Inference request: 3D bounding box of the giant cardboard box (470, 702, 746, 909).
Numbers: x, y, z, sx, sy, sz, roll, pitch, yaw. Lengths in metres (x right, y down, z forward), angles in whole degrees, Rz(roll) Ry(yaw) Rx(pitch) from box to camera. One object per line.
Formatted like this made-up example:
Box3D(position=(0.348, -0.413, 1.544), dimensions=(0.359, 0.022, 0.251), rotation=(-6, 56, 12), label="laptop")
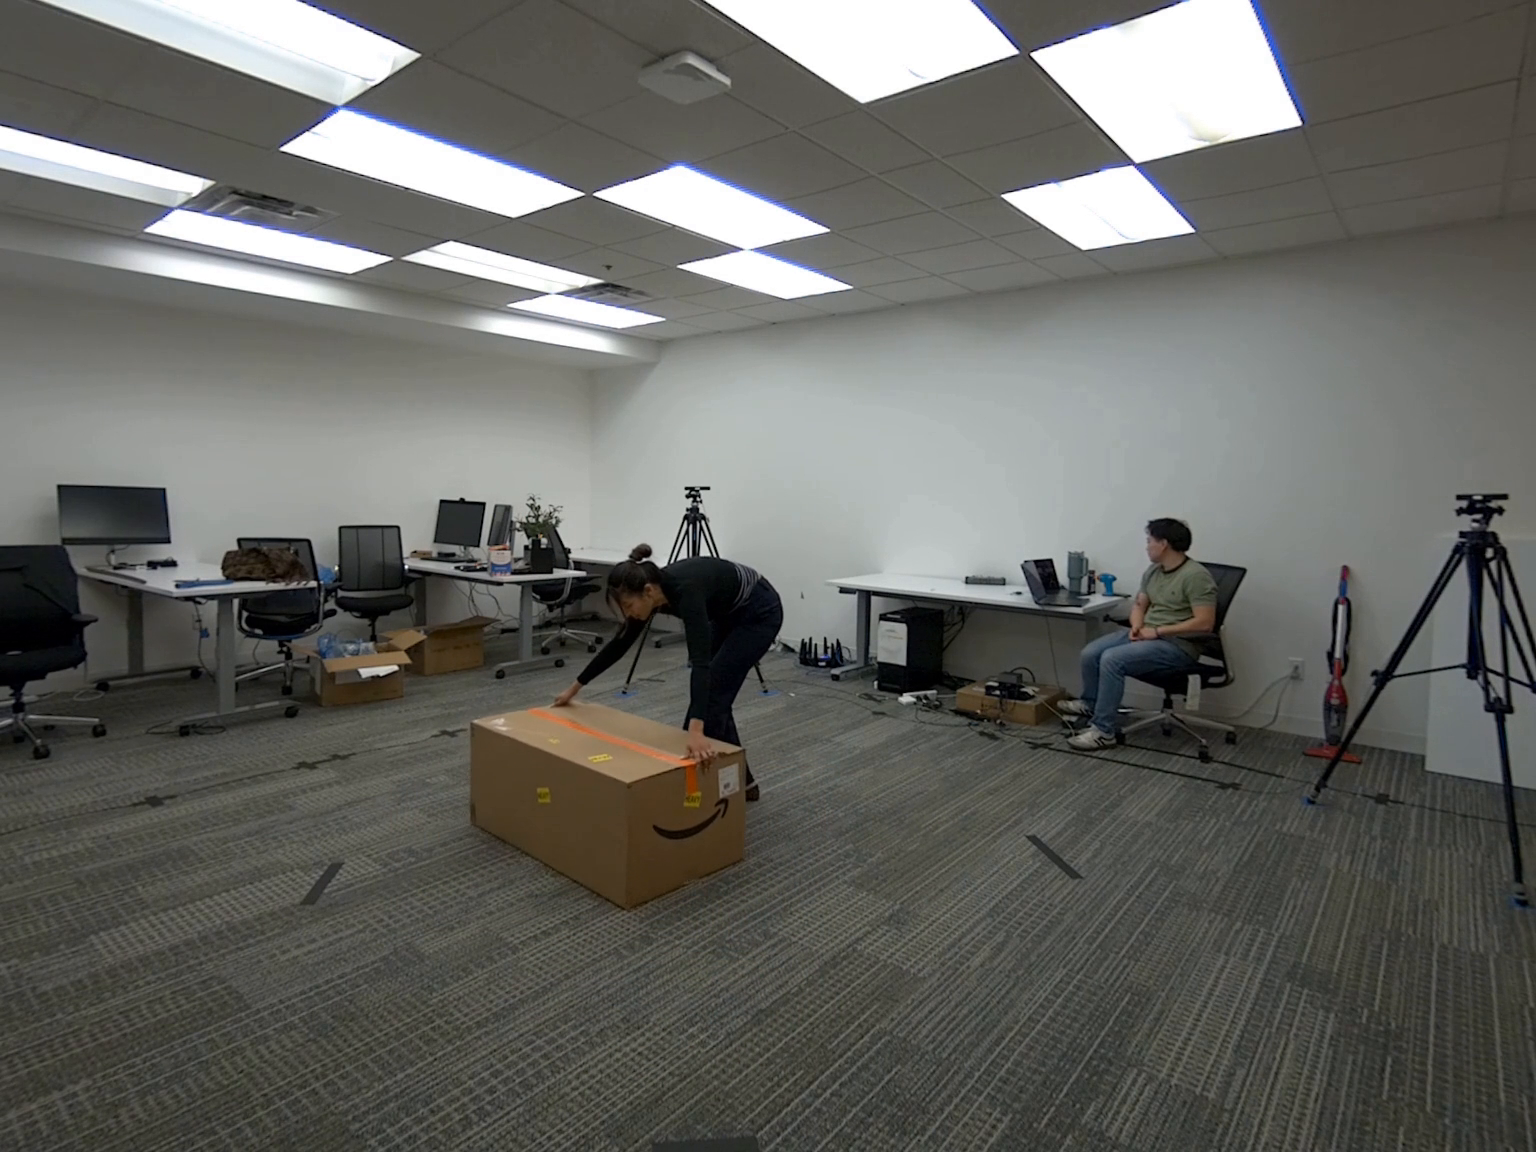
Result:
Box3D(position=(-0.662, 0.823, 3.327), dimensions=(1.061, 0.424, 0.560), rotation=(6, 7, 43), label="giant cardboard box")
